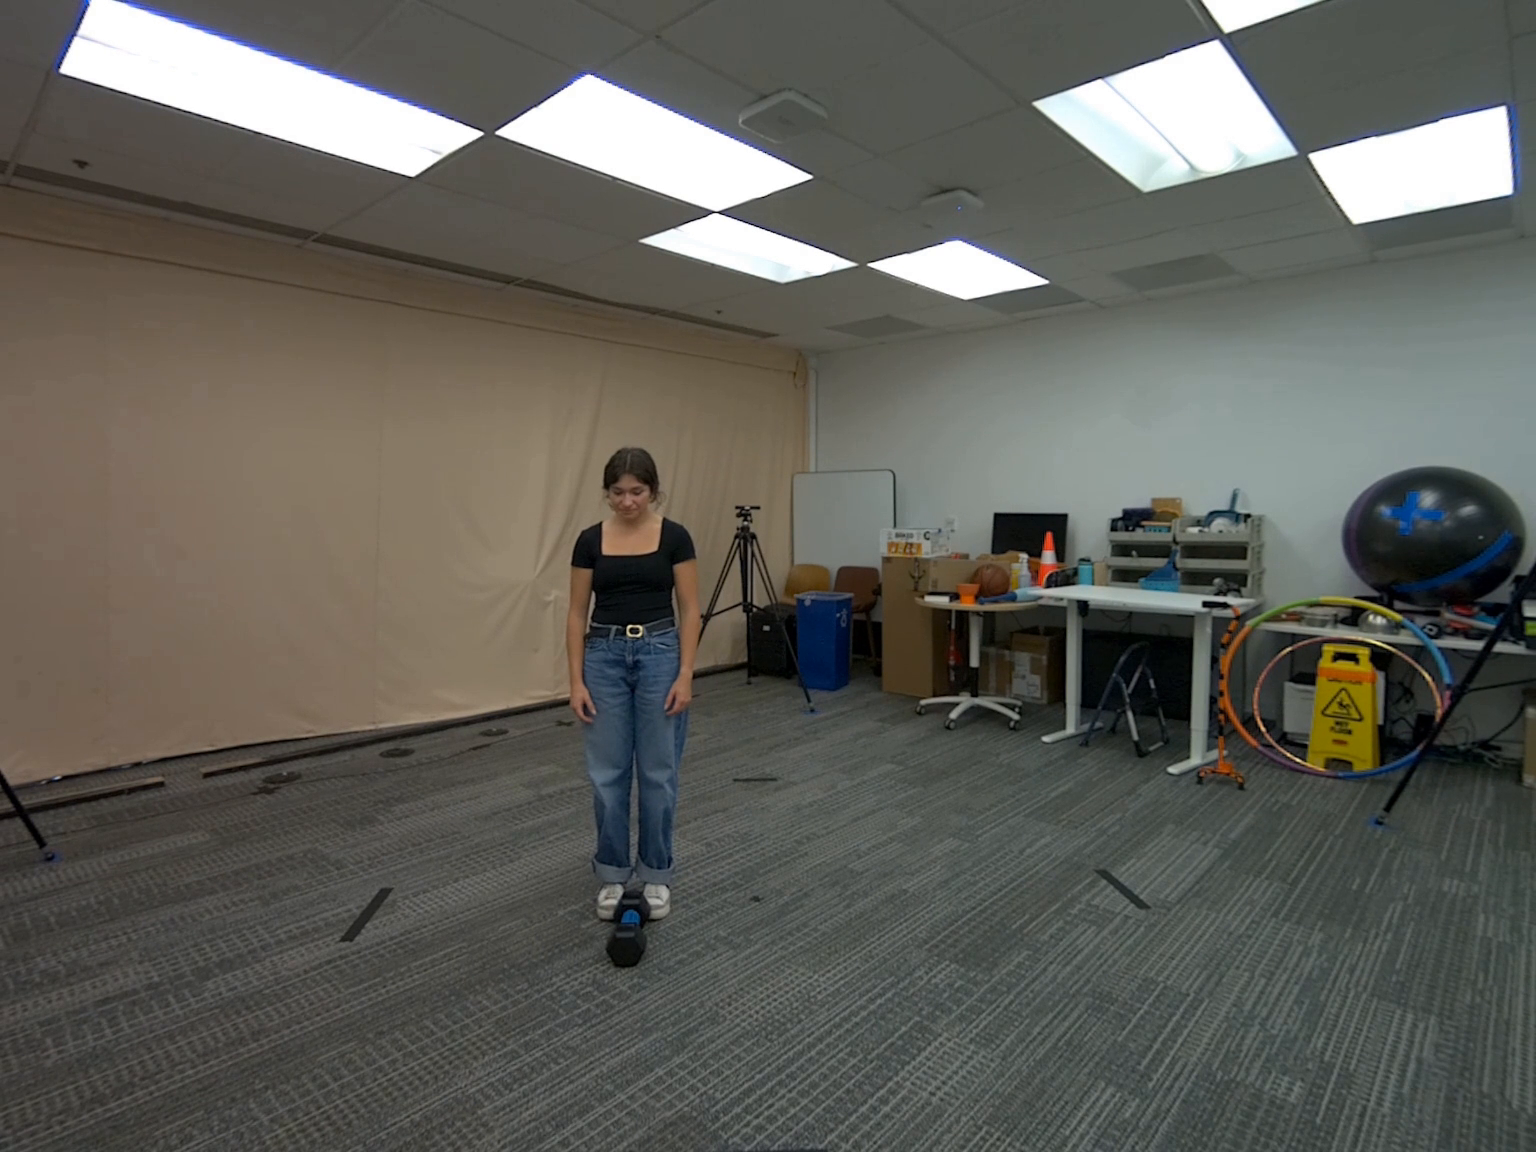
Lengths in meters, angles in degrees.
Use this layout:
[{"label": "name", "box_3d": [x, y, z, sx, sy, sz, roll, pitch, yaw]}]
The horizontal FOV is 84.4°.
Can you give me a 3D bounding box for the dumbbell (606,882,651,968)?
[{"label": "dumbbell", "box_3d": [-0.444, 1.112, 2.679, 0.108, 0.123, 0.295, 29, 2, -7]}]
